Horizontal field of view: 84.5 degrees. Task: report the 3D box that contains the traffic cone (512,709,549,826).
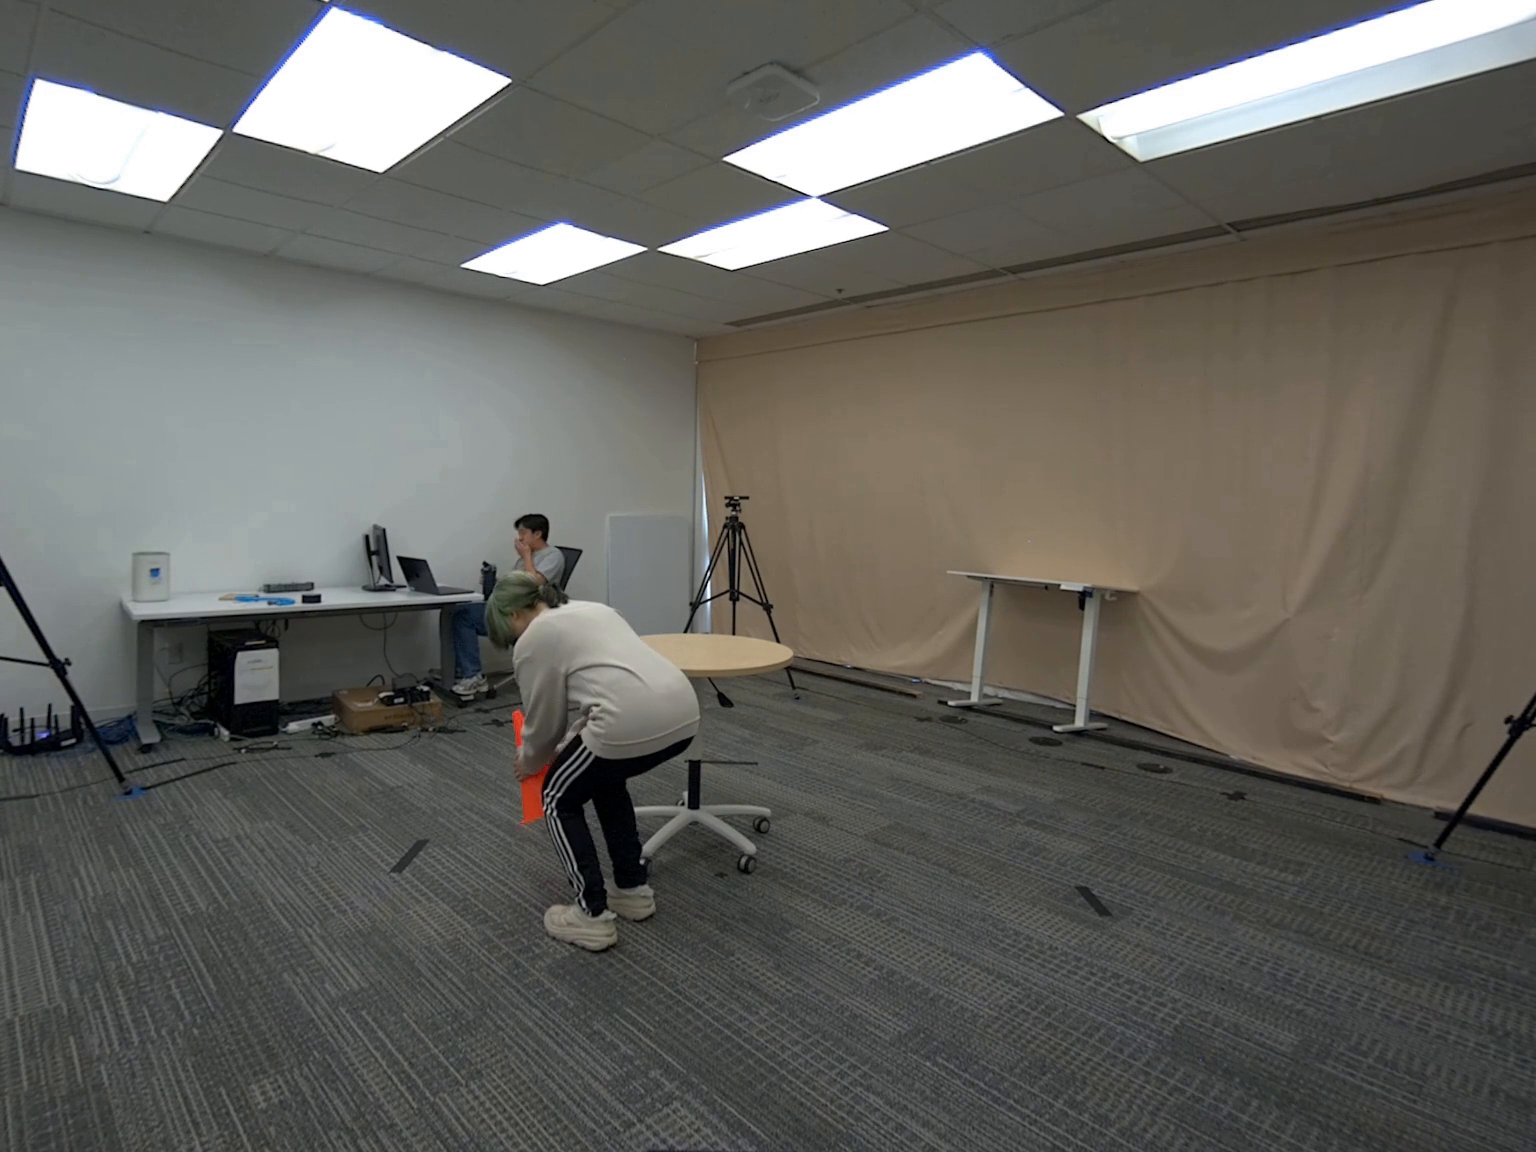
[{"bbox_3d":[-0.848,0.669,3.001,0.199,0.388,0.207,-6,-13,-36],"label":"traffic cone"}]
